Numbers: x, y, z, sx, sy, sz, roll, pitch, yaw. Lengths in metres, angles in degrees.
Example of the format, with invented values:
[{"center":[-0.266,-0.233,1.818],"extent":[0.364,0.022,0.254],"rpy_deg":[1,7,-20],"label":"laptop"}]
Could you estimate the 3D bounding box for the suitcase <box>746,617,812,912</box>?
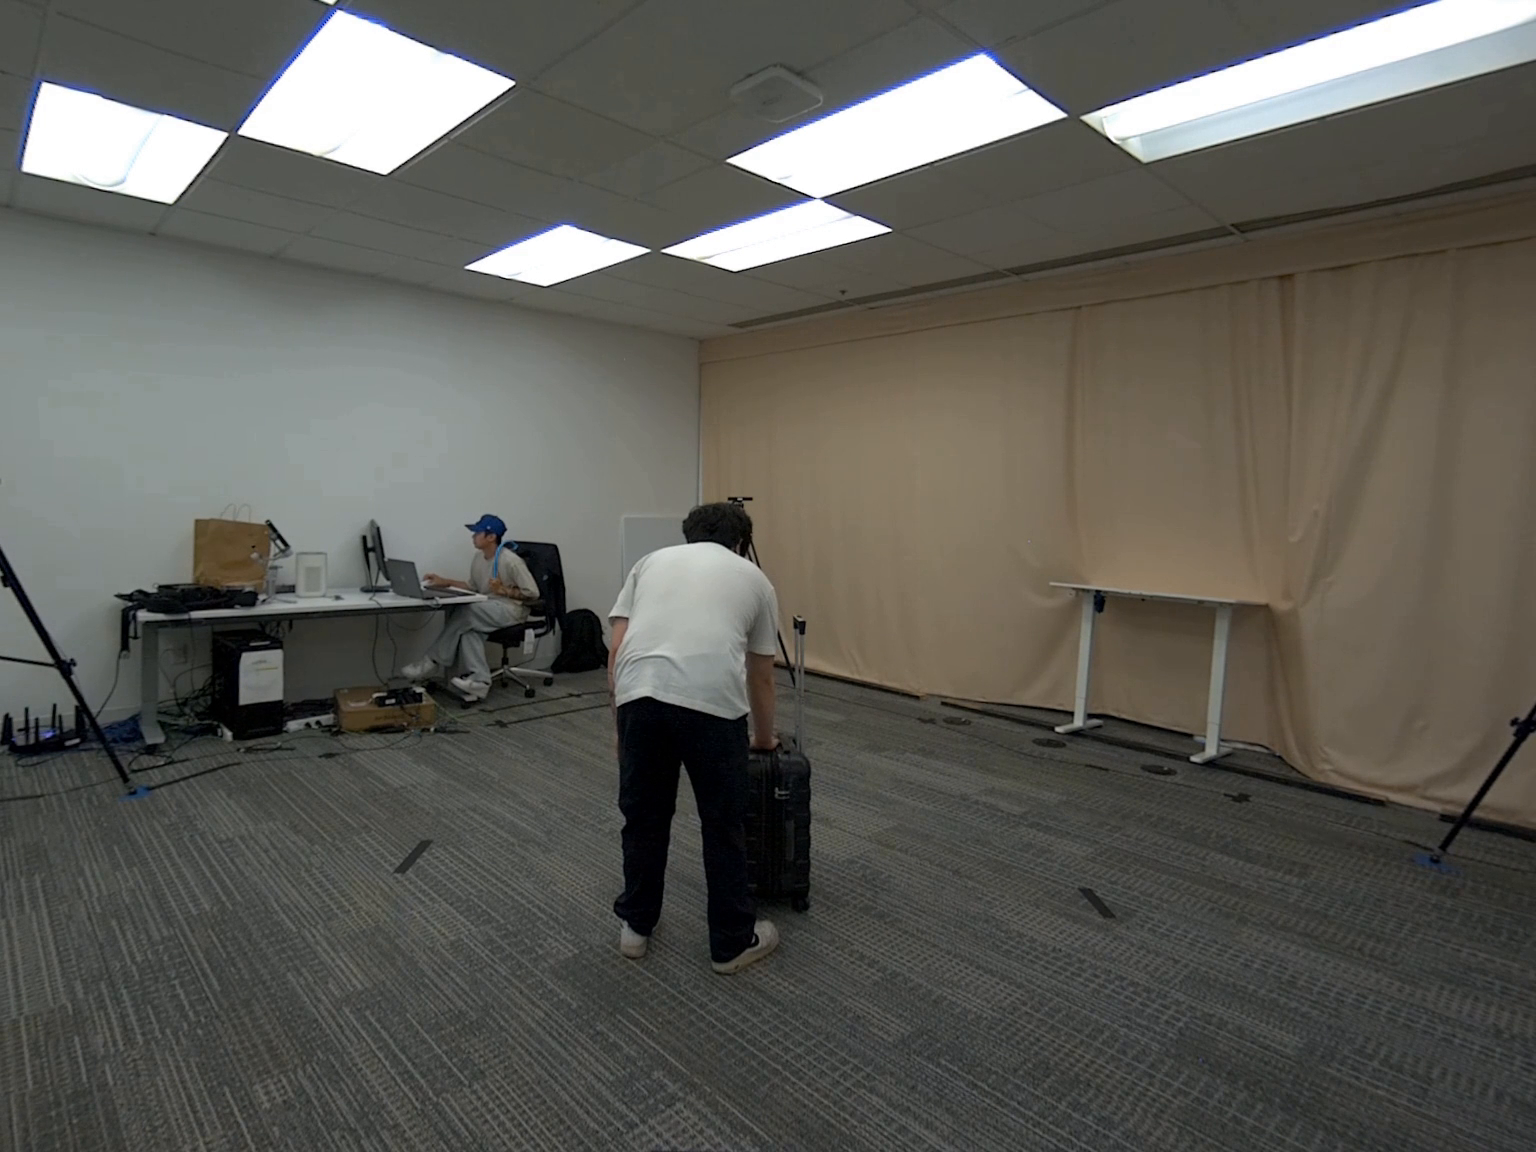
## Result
[{"center":[0.002,0.651,2.949],"extent":[0.256,0.976,0.386],"rpy_deg":[-2,3,-4],"label":"suitcase"}]
